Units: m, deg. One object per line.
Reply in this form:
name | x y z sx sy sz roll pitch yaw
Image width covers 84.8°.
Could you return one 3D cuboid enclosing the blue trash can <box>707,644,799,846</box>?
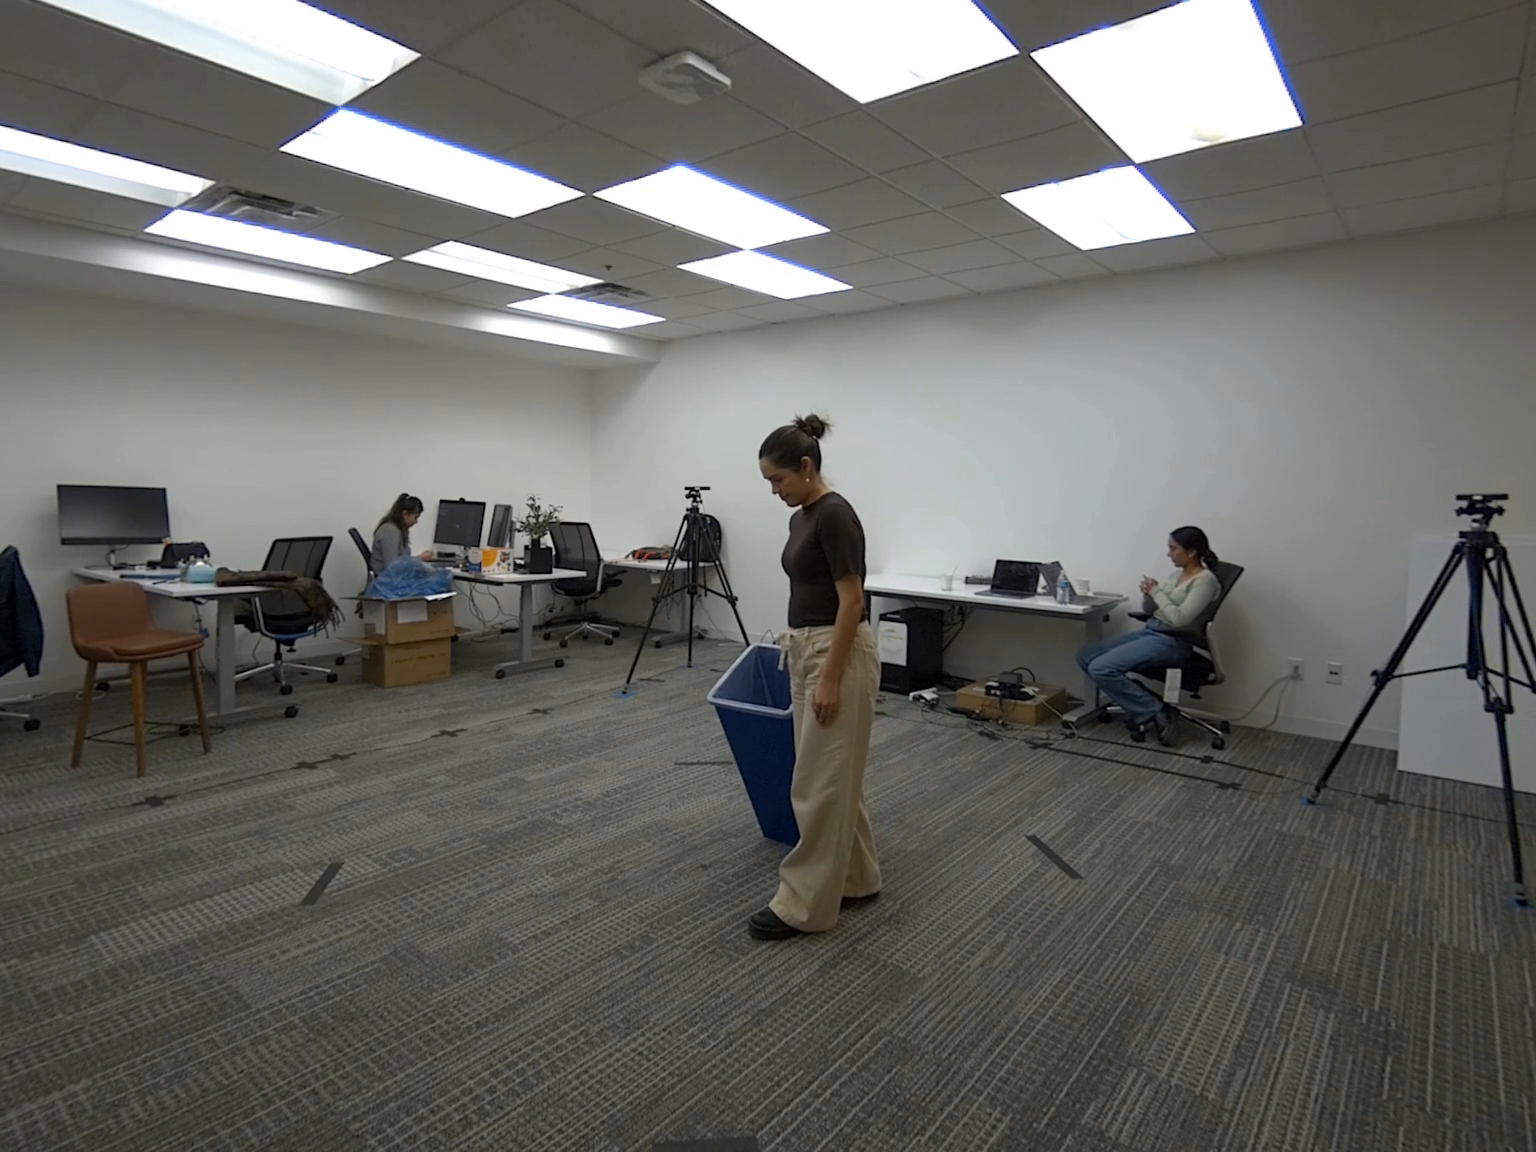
blue trash can | 0.080 0.672 3.274 0.390 0.695 0.372 2 29 35
